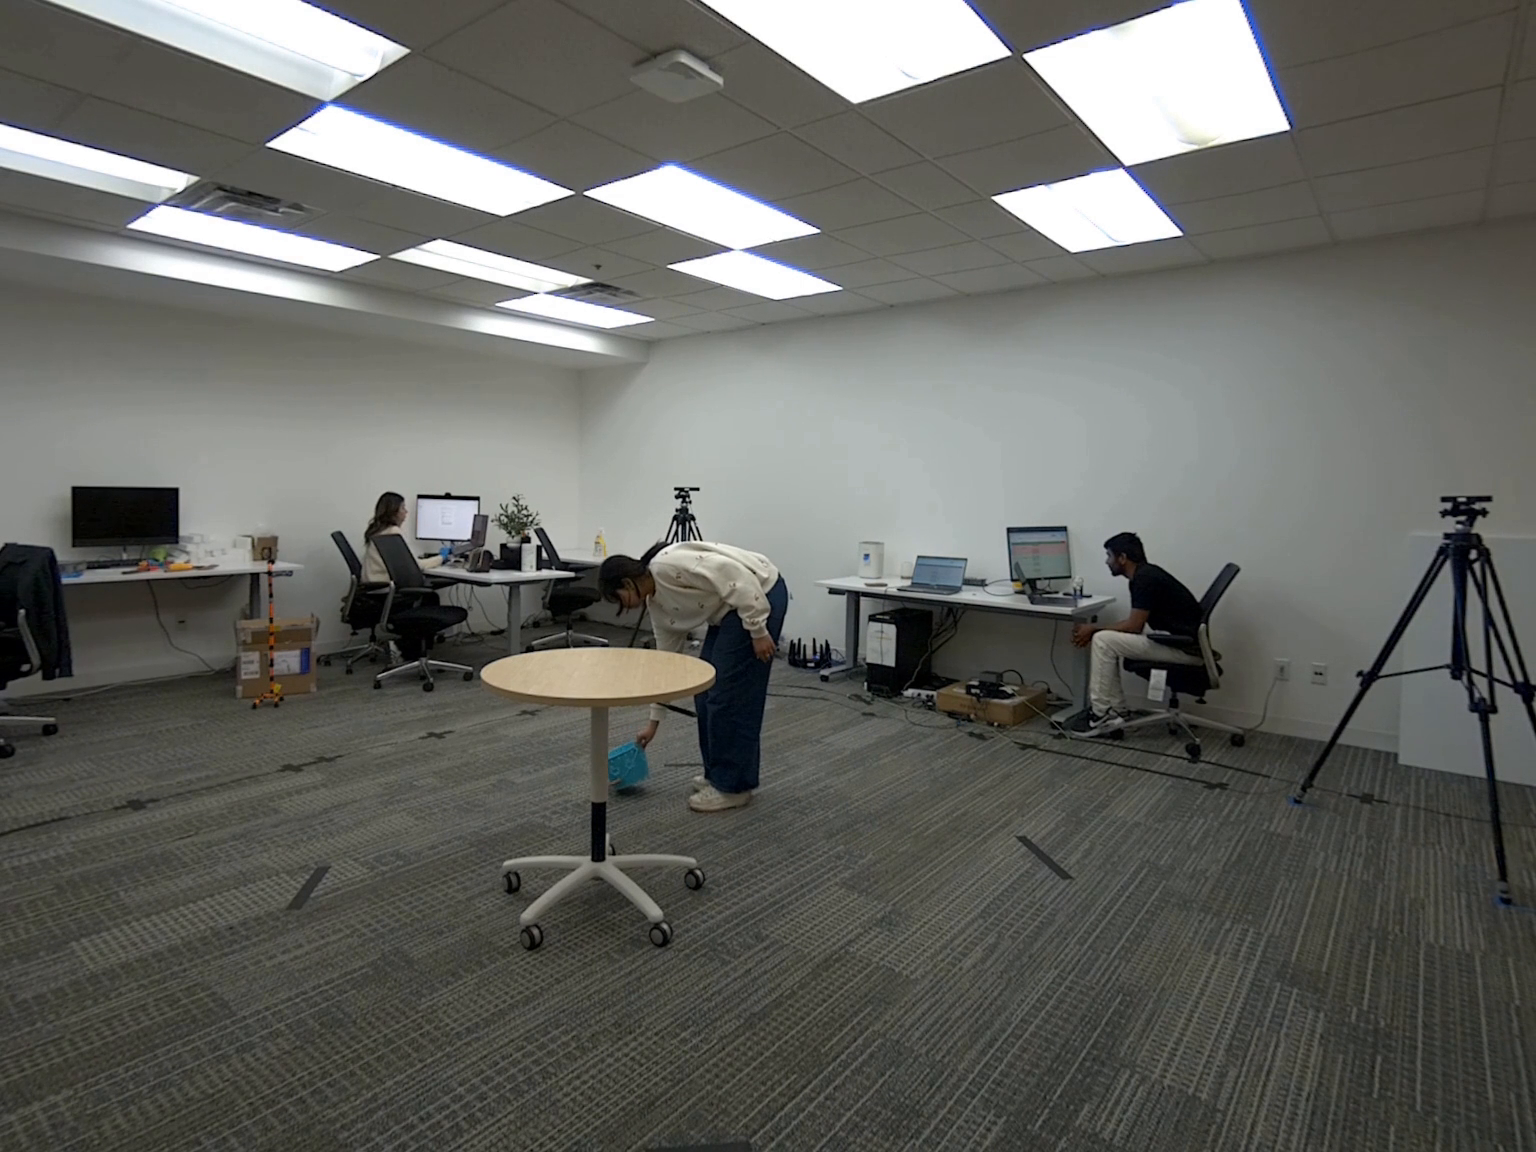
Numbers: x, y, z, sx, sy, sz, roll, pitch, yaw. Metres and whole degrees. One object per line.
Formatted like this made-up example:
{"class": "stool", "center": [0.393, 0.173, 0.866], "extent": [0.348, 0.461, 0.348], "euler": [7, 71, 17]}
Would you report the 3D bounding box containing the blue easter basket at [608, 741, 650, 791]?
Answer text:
{"class": "blue easter basket", "center": [-0.669, 0.870, 3.913], "extent": [0.243, 0.156, 0.243], "euler": [-22, 0, -2]}
